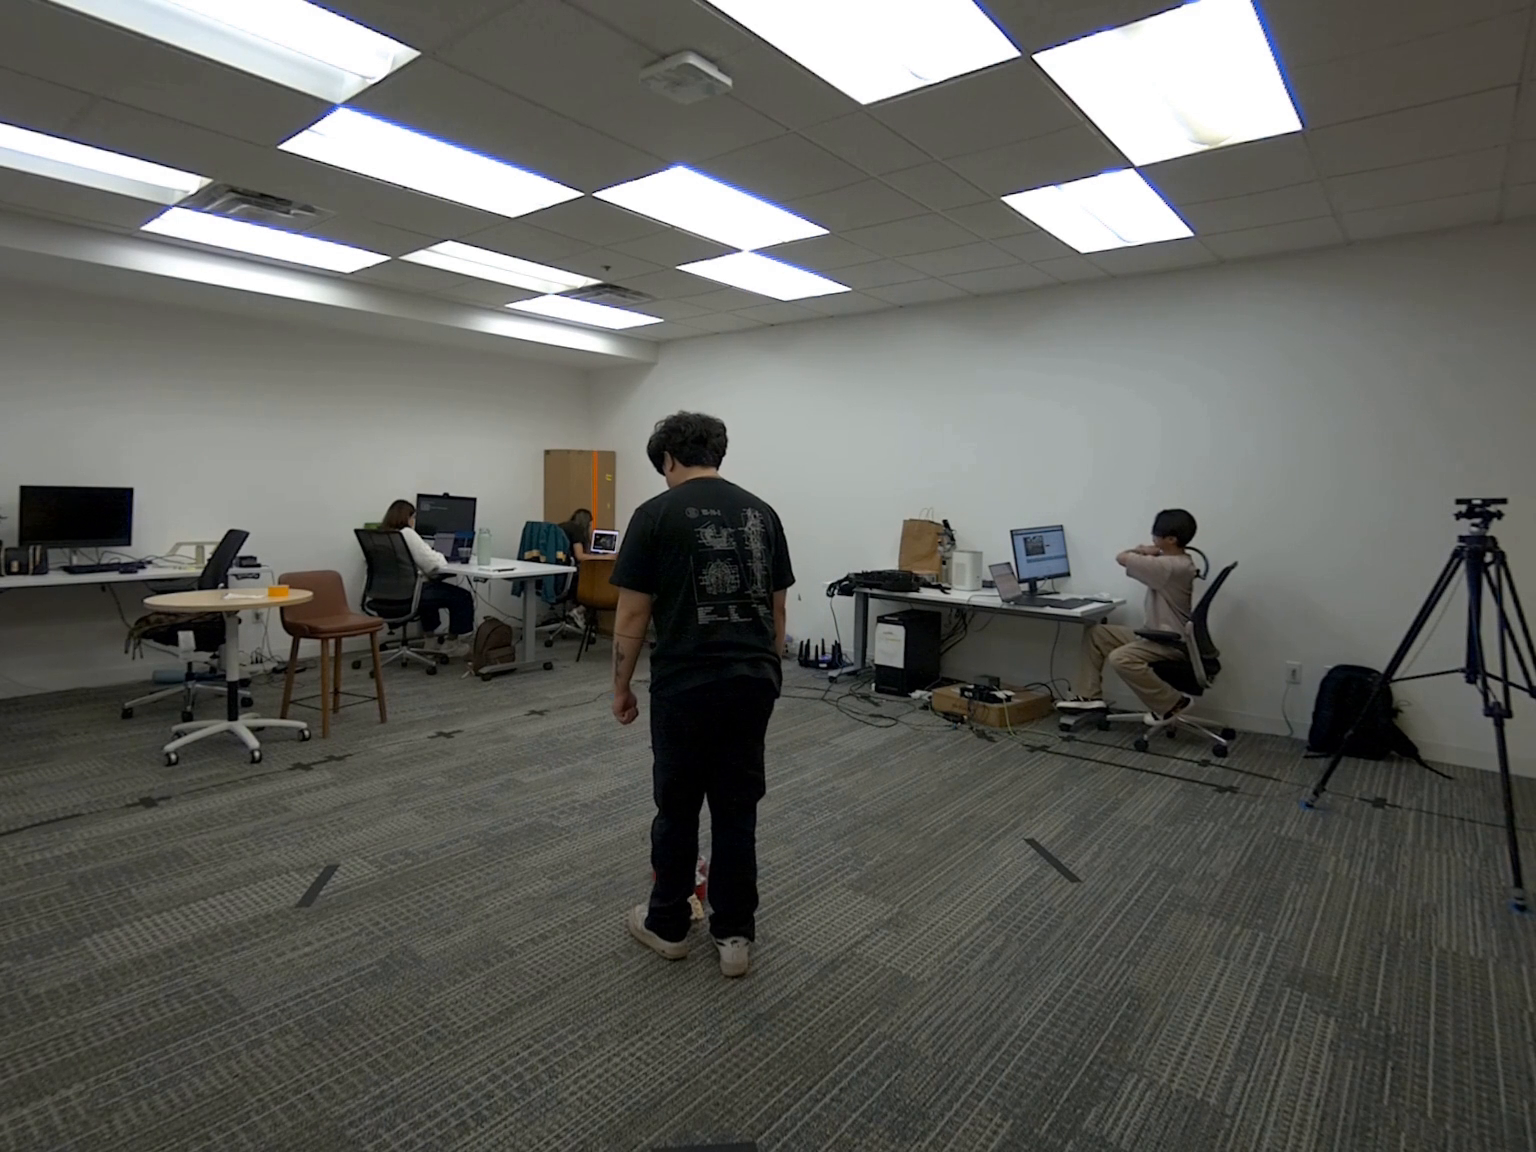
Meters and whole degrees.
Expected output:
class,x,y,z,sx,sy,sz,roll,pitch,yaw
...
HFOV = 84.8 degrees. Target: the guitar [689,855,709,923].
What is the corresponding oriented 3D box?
class,x,y,z,sx,sy,sz,roll,pitch,yaw
guitar,-0.312,1.052,2.862,0.193,0.070,0.500,1,5,-2
